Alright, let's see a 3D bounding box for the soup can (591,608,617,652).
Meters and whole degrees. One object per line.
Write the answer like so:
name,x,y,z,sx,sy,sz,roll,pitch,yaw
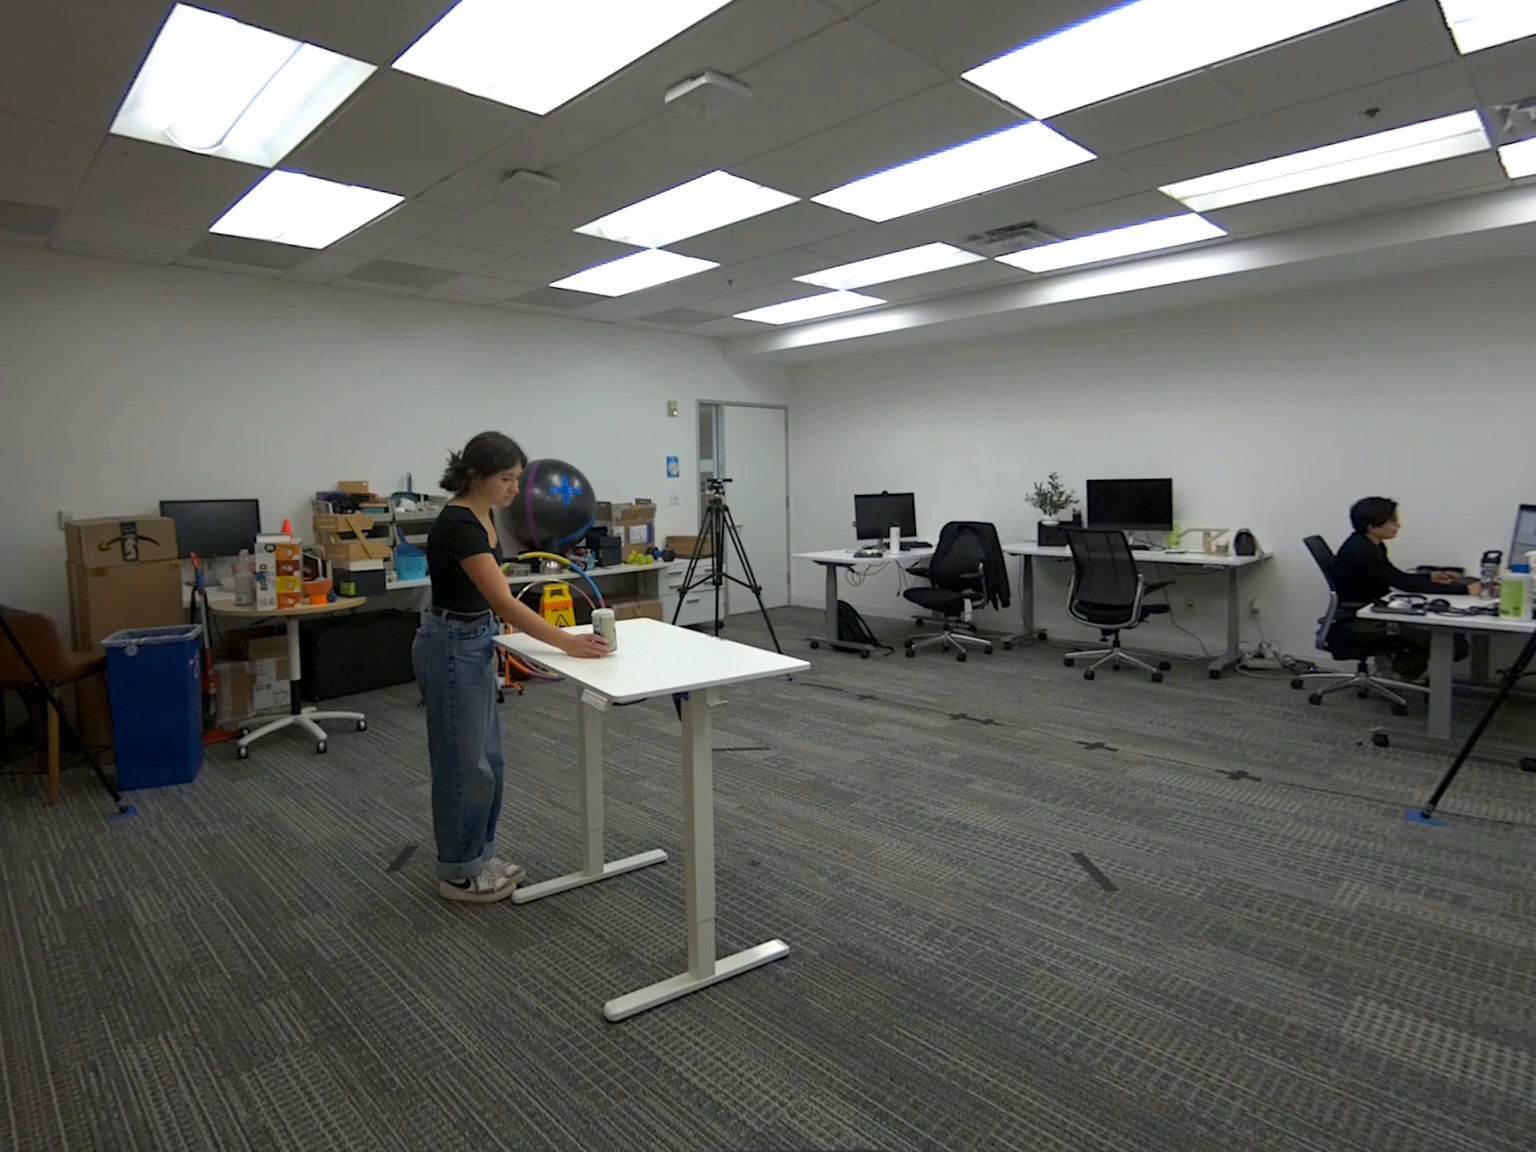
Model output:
soup can,-0.482,0.156,2.527,0.067,0.120,0.068,-2,9,-1
